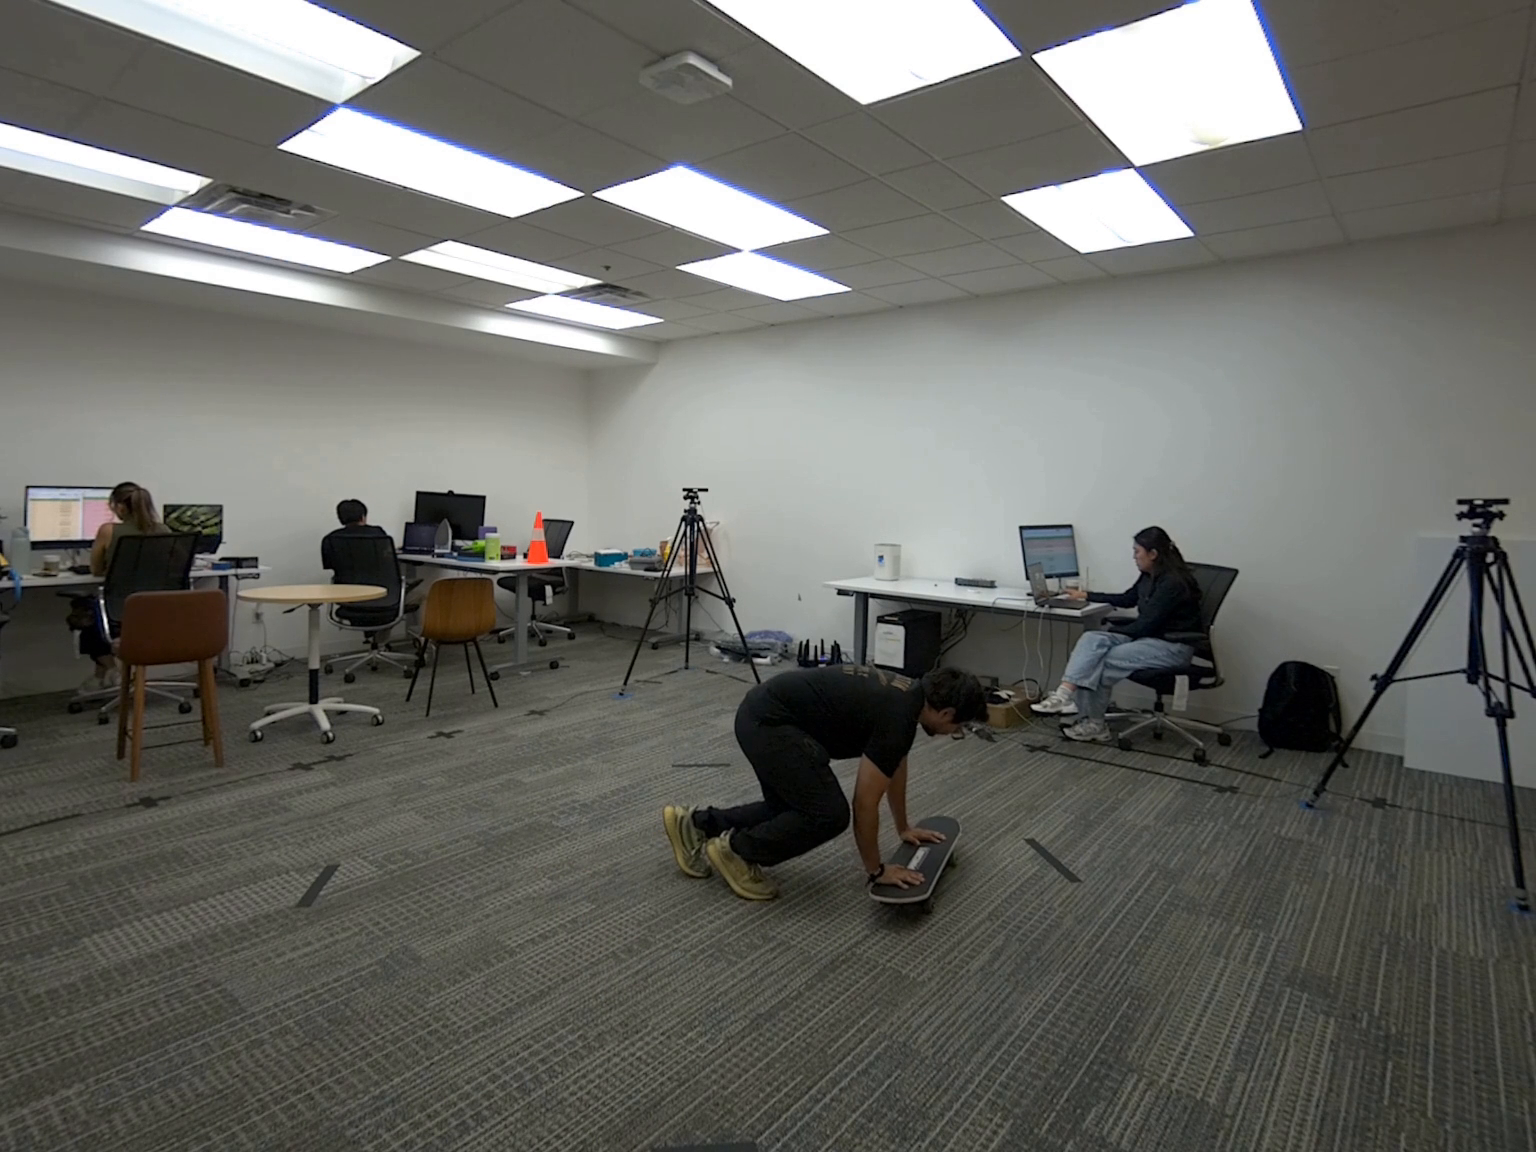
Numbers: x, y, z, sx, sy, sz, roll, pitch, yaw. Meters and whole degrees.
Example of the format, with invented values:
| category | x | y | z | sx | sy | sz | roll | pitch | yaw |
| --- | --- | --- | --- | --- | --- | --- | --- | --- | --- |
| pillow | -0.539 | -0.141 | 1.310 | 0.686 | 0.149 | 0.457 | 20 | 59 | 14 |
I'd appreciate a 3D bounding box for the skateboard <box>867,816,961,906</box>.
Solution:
| category | x | y | z | sx | sy | sz | roll | pitch | yaw |
| --- | --- | --- | --- | --- | --- | --- | --- | --- | --- |
| skateboard | 0.533 | 1.037 | 3.046 | 0.198 | 0.110 | 0.769 | -4 | 3 | 24 |
